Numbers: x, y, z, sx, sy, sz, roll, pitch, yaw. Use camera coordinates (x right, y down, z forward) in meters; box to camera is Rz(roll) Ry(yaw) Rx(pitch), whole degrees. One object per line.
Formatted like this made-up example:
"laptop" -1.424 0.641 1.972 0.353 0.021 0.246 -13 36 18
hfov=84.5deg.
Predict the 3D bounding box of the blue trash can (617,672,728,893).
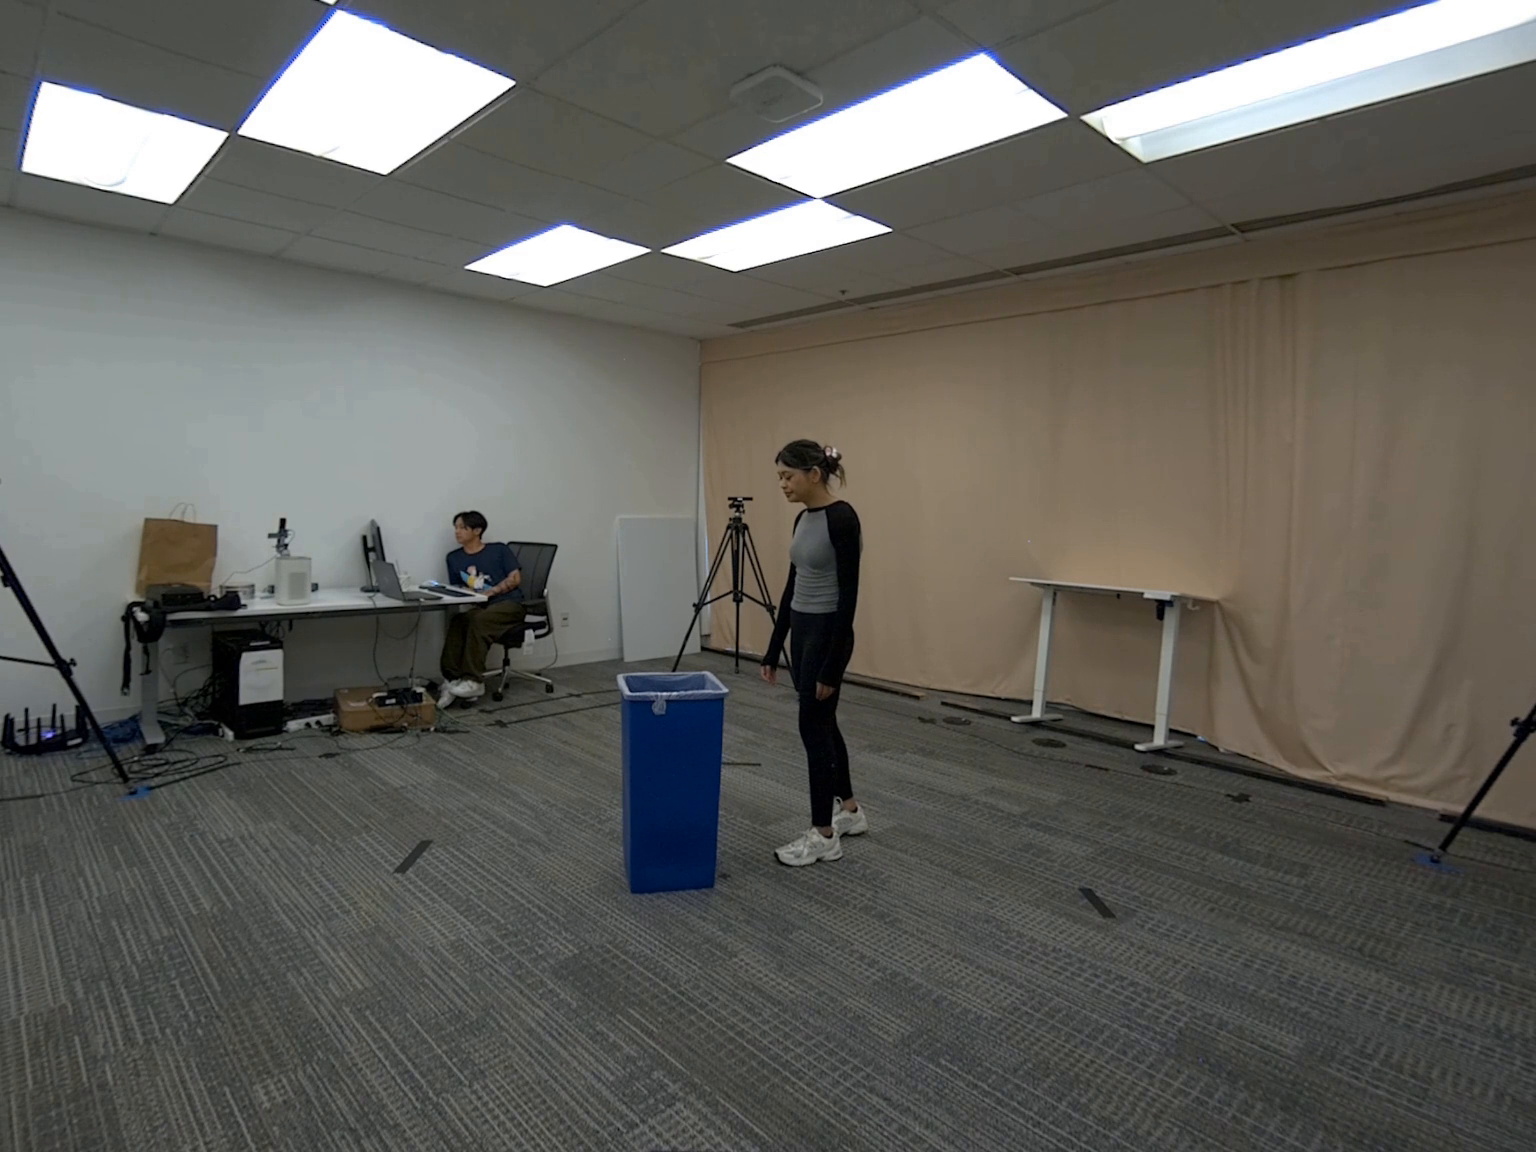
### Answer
"blue trash can" -0.374 0.745 3.105 0.374 0.712 0.379 1 3 -14
